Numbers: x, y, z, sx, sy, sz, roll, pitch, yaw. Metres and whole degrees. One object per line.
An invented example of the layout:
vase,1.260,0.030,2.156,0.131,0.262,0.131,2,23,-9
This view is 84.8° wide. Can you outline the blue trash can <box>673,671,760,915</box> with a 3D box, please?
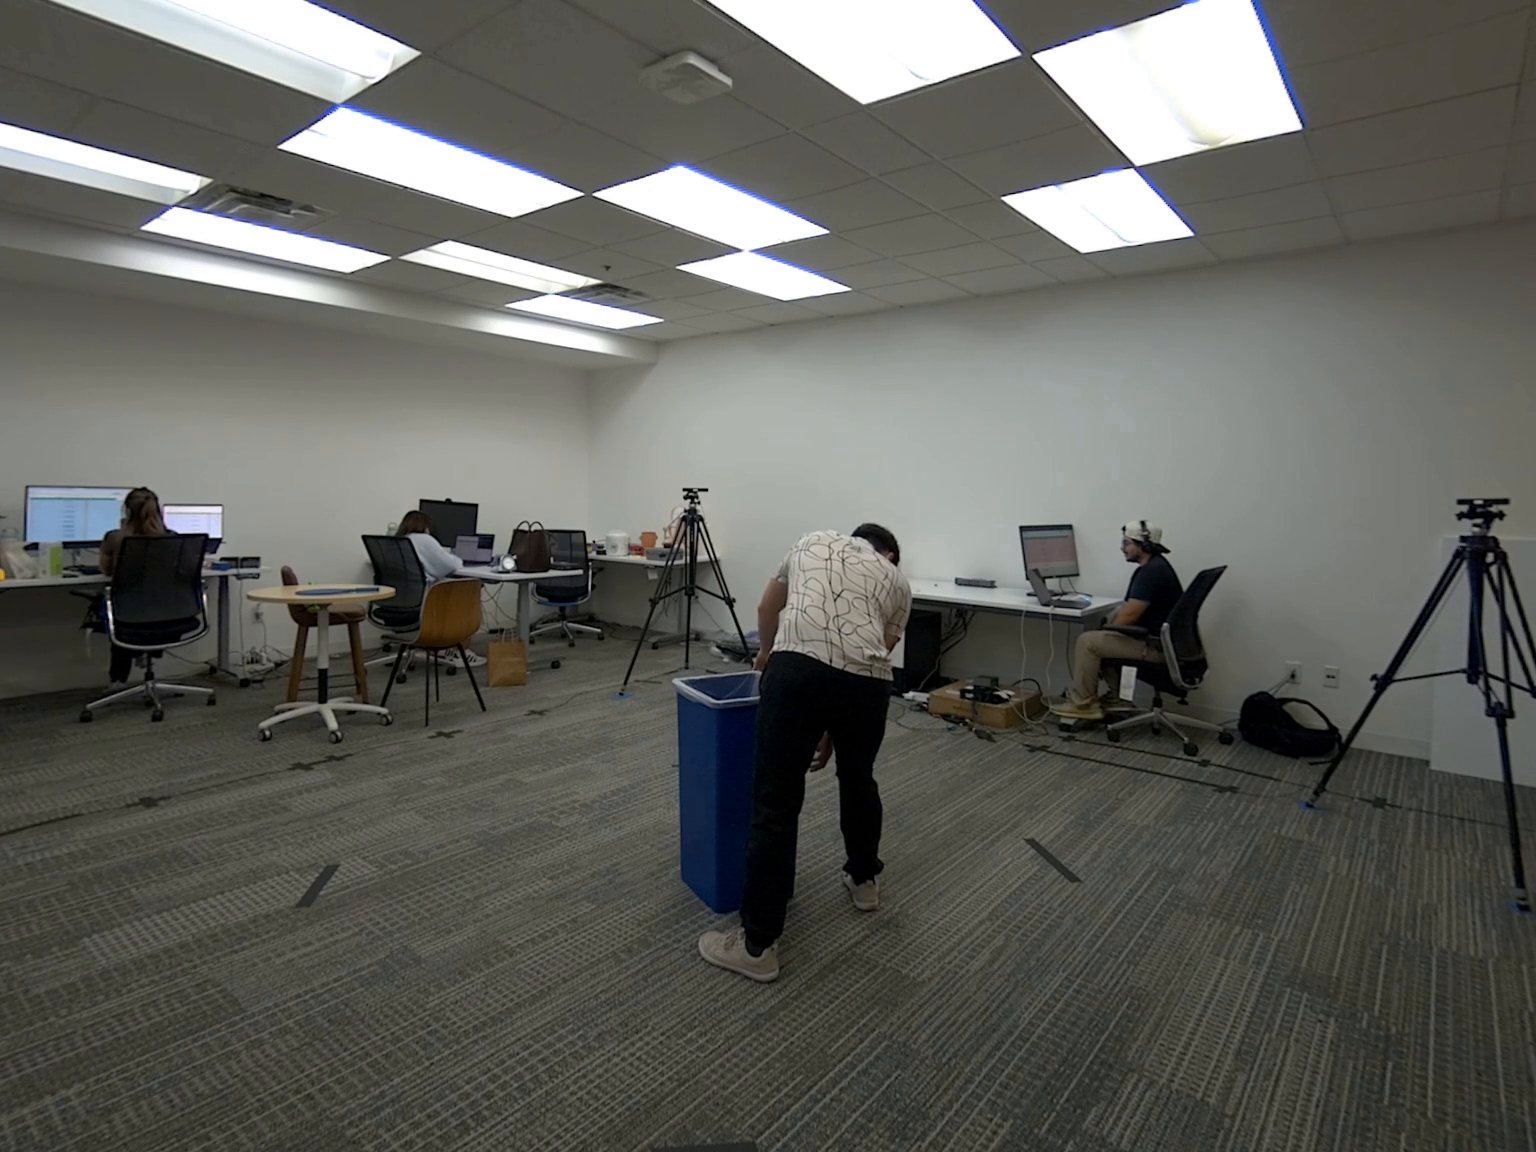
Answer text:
blue trash can,-0.124,0.727,2.960,0.368,0.711,0.385,-1,4,-30
